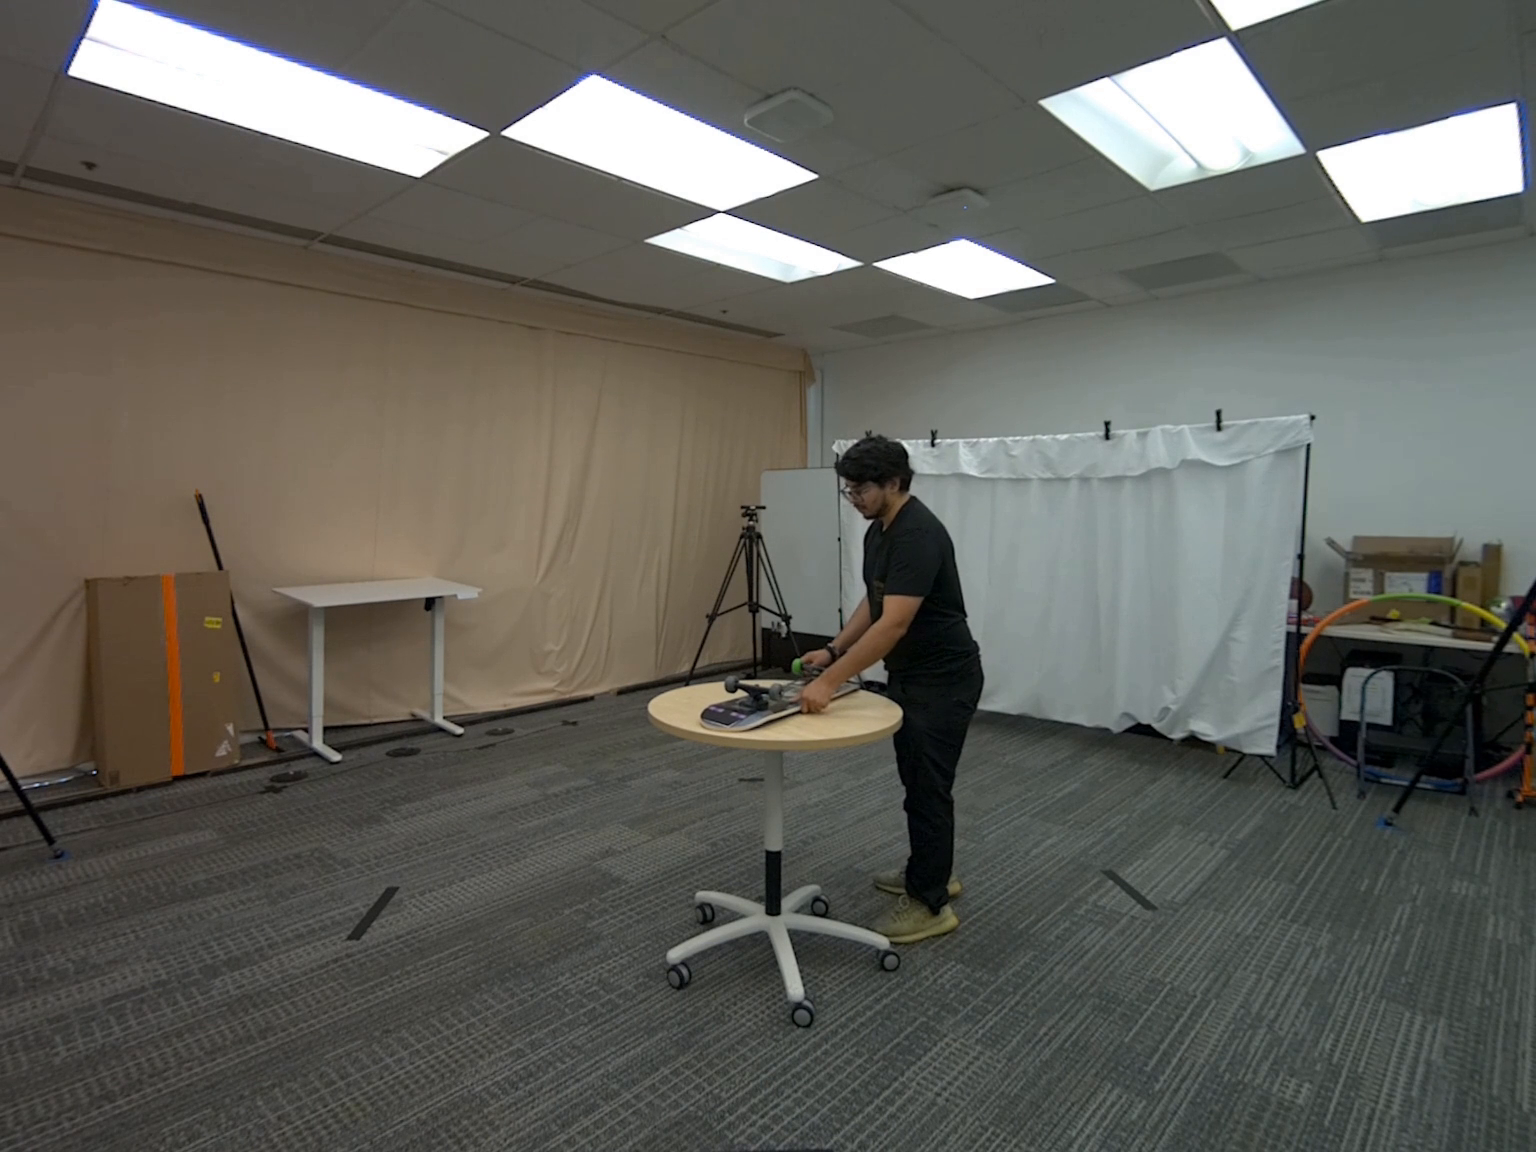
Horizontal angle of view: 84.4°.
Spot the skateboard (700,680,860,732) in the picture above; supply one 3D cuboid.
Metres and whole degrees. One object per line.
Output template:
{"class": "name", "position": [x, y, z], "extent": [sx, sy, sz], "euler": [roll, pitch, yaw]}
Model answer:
{"class": "skateboard", "position": [0.061, 0.354, 2.581], "extent": [0.199, 0.110, 0.763], "euler": [5, 6, 33]}
